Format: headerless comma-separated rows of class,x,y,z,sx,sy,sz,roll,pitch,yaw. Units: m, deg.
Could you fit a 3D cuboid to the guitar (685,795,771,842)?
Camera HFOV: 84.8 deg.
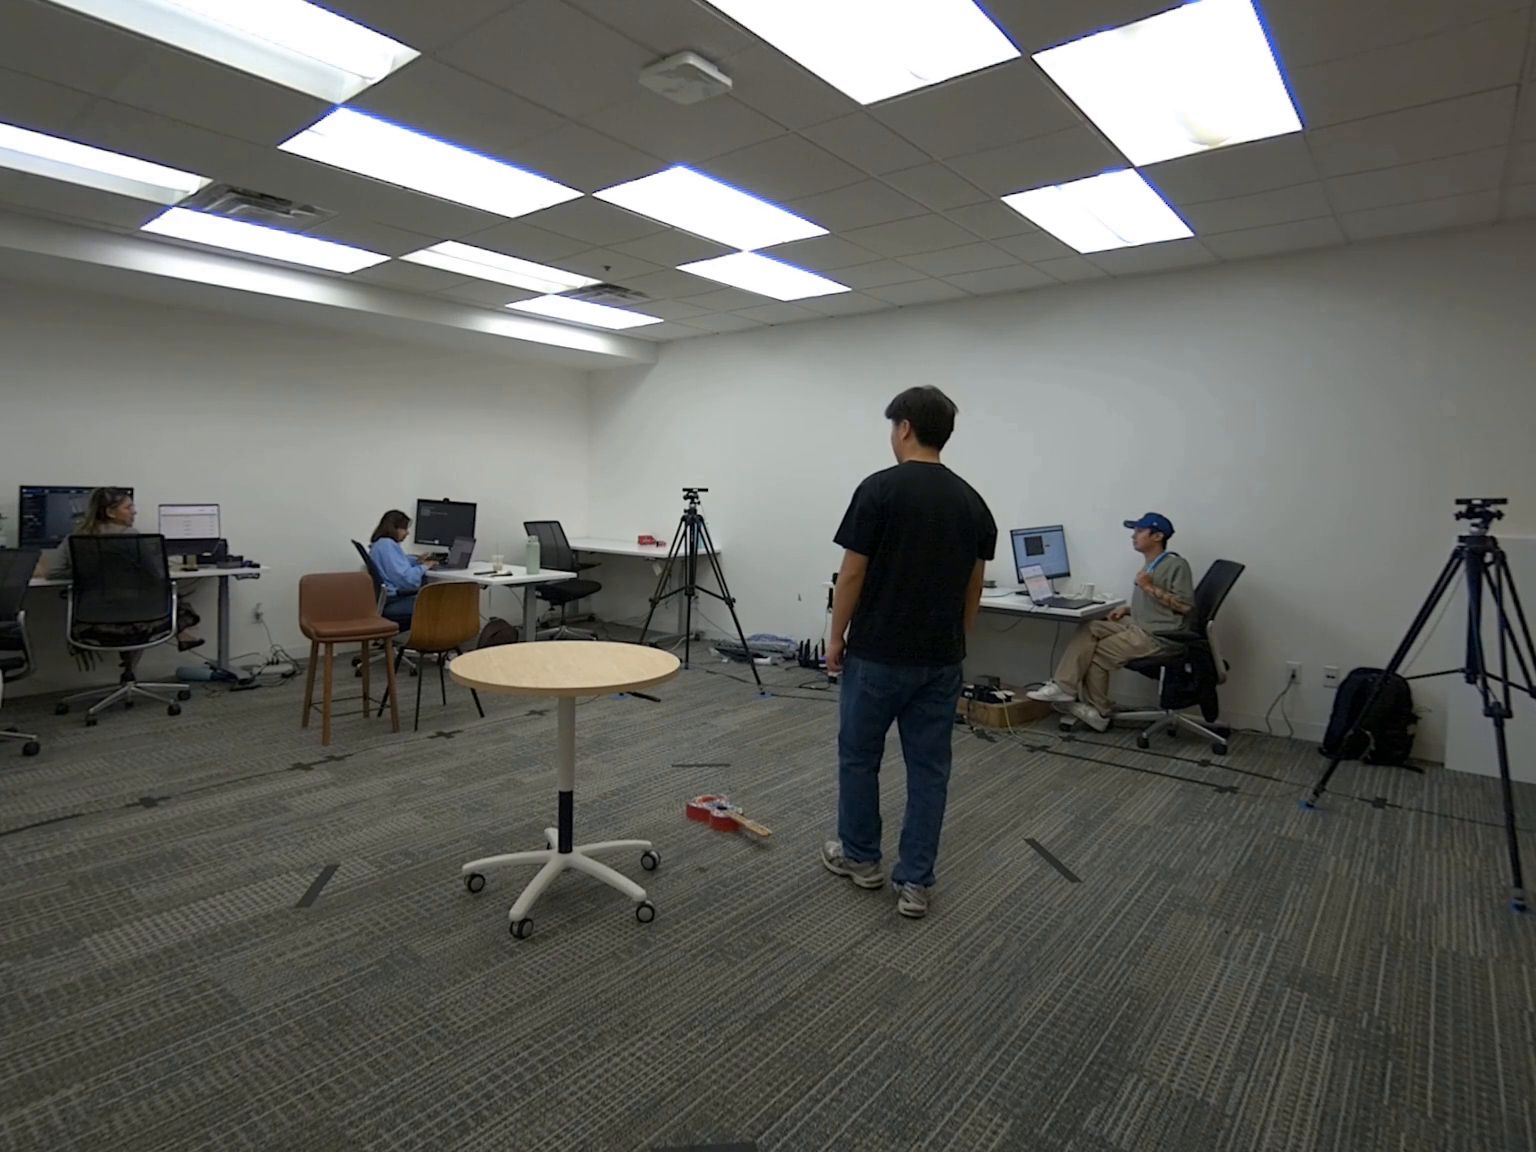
guitar,-0.181,1.000,3.481,0.188,0.070,0.512,-1,5,-27
